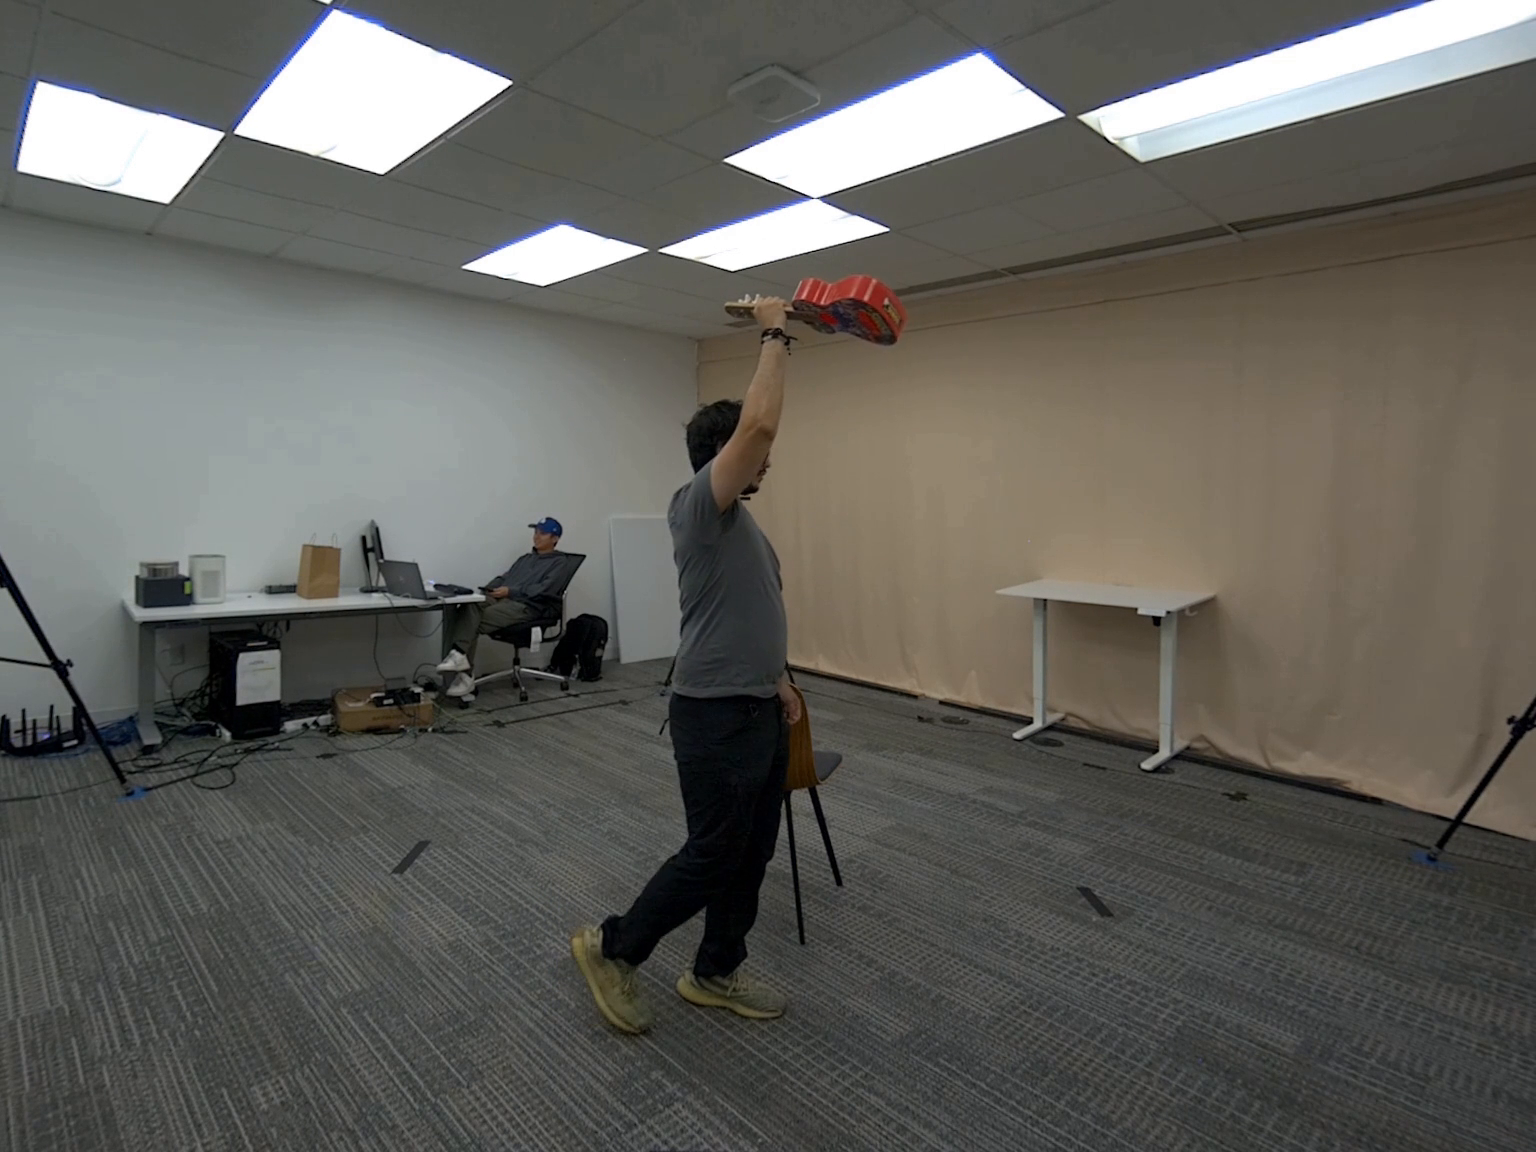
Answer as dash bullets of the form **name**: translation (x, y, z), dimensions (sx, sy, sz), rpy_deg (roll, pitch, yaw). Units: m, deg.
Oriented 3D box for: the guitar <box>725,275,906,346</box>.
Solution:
- **guitar**: translation (0.083, -0.663, 2.018), dimensions (0.511, 0.071, 0.187), rpy_deg (21, -10, 29)
